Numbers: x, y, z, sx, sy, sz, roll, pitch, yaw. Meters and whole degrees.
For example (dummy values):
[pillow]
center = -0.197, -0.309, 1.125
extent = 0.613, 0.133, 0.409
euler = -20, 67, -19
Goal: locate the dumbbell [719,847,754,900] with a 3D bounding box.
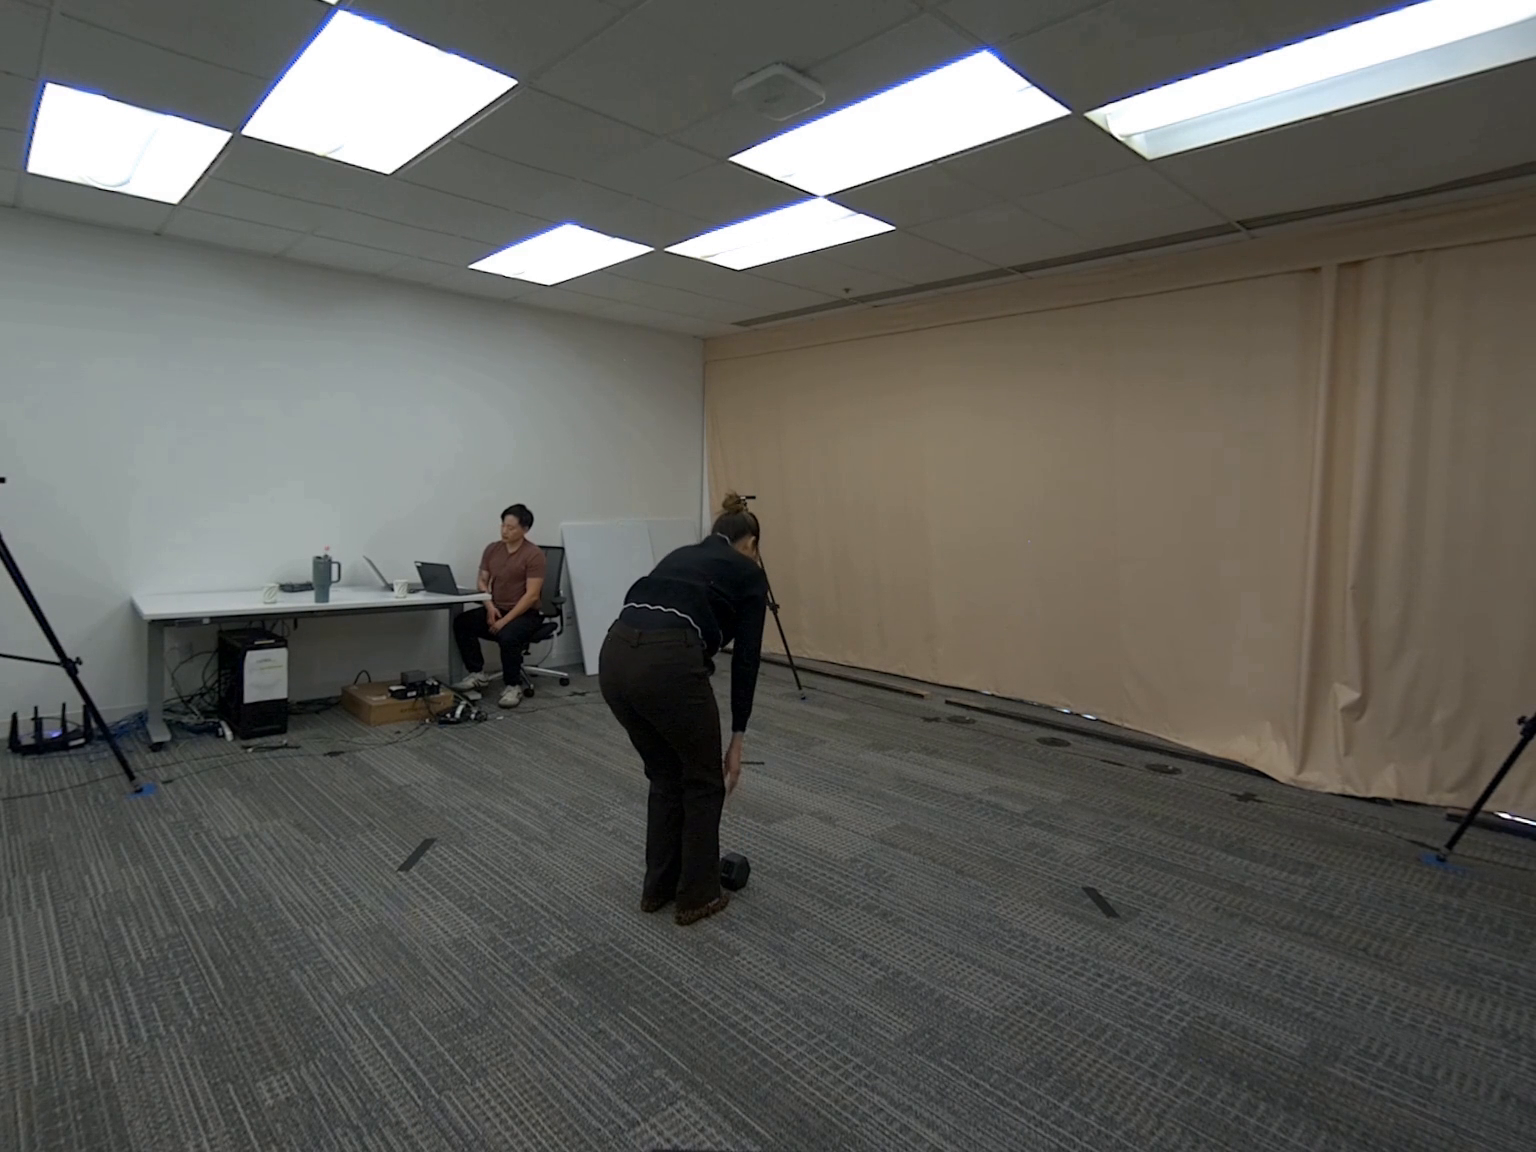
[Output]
[dumbbell]
center = -0.213, 1.055, 3.069
extent = 0.301, 0.108, 0.120
euler = 5, 4, 36
